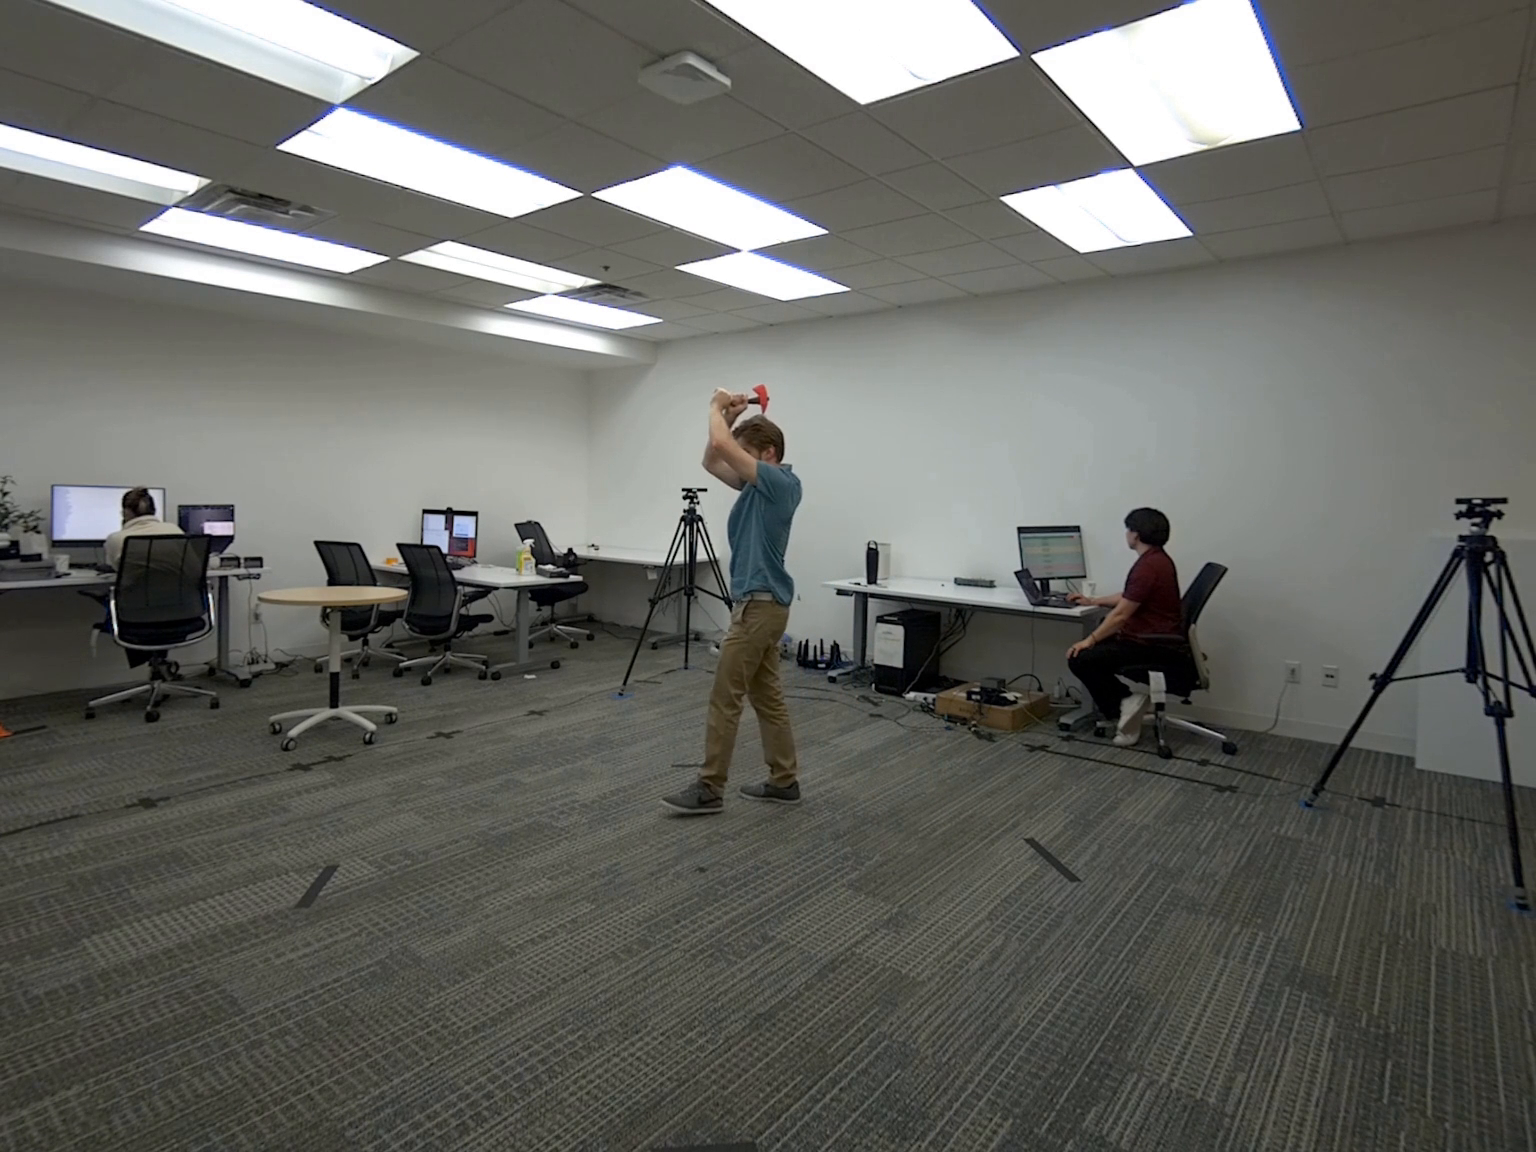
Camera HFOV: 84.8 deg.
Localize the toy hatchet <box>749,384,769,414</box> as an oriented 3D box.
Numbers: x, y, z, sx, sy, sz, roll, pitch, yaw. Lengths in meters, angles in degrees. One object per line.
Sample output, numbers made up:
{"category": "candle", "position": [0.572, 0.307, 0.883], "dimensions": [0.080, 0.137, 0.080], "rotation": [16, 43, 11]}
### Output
{"category": "toy hatchet", "position": [-0.123, -0.817, 3.772], "dimensions": [0.263, 0.130, 0.030], "rotation": [12, 9, -22]}
